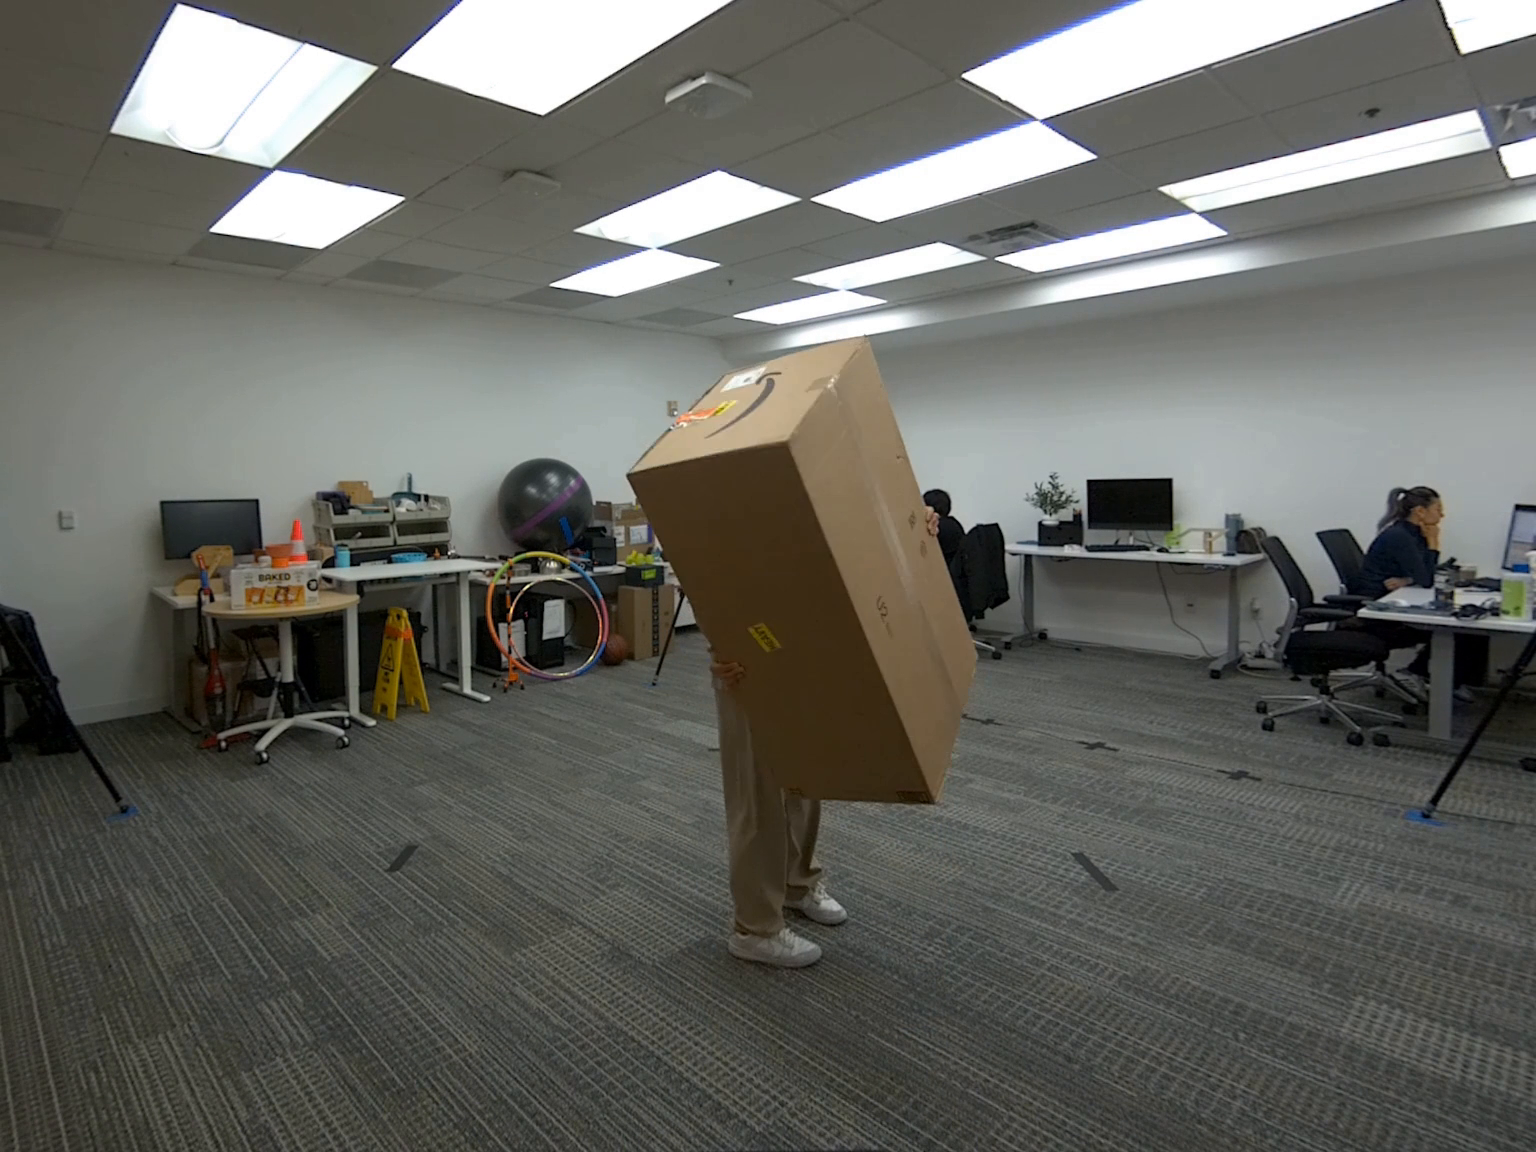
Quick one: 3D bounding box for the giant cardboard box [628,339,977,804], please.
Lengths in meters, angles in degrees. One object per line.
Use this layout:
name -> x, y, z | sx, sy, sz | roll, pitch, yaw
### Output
giant cardboard box -> 0.151, 0.002, 2.211 | 0.436, 0.998, 0.580 | -8, 29, 31
